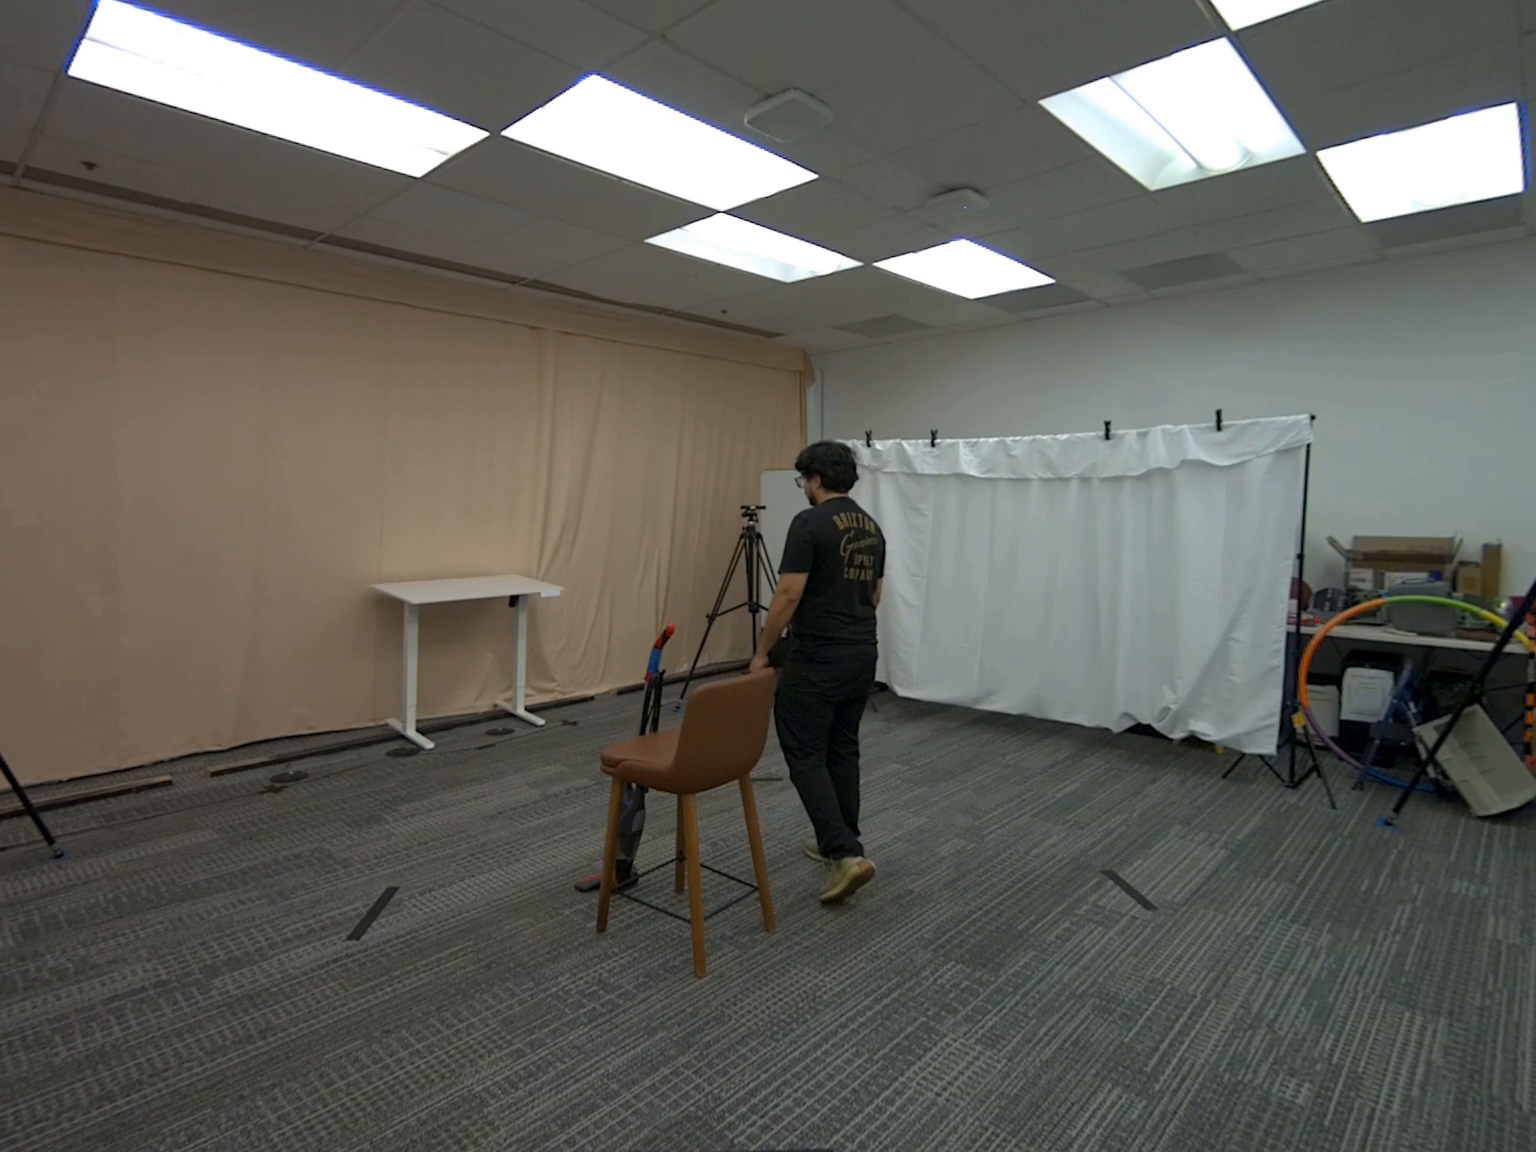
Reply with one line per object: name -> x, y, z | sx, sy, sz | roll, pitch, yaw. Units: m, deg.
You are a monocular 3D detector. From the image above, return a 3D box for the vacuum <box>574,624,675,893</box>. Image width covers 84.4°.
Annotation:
vacuum -> -0.451, 0.658, 2.964 | 0.149, 1.044, 0.245 | 26, 19, 34
